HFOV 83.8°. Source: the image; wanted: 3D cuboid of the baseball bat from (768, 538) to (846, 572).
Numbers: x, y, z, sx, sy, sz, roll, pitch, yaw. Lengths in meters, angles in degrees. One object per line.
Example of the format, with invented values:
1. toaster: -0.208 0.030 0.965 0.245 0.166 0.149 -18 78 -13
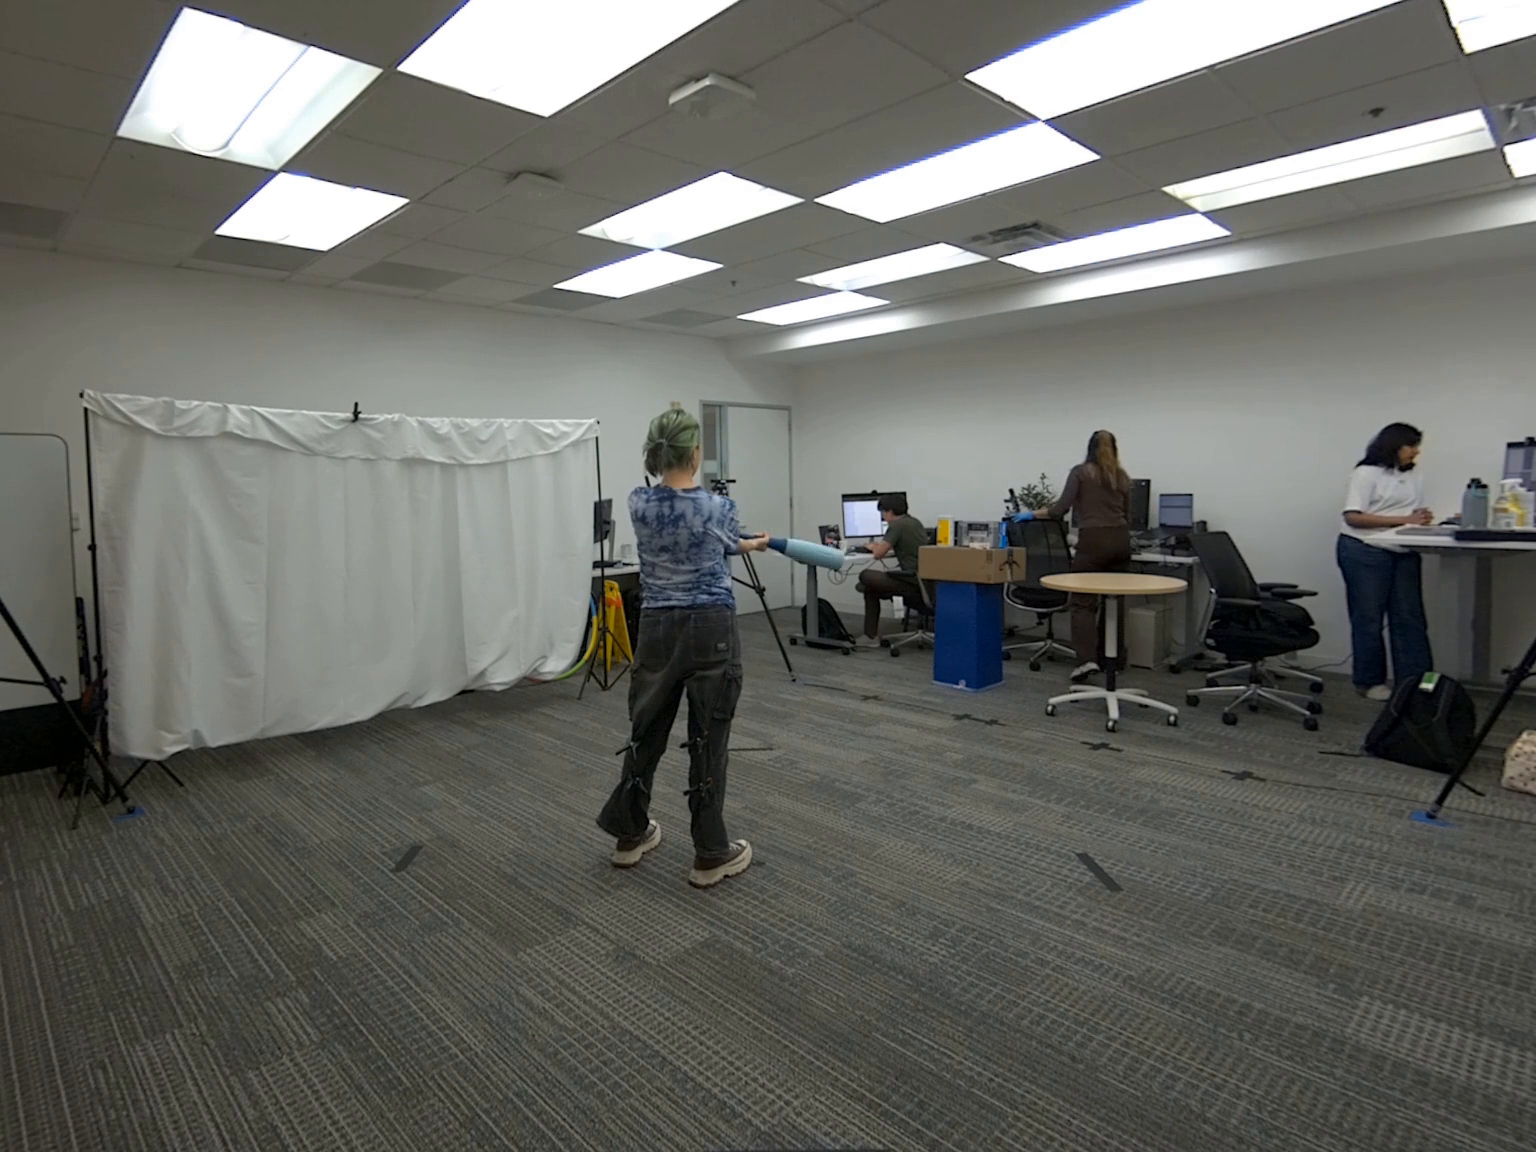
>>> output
1. baseball bat: 0.047 -0.123 3.534 0.539 0.089 0.090 13 3 -6
